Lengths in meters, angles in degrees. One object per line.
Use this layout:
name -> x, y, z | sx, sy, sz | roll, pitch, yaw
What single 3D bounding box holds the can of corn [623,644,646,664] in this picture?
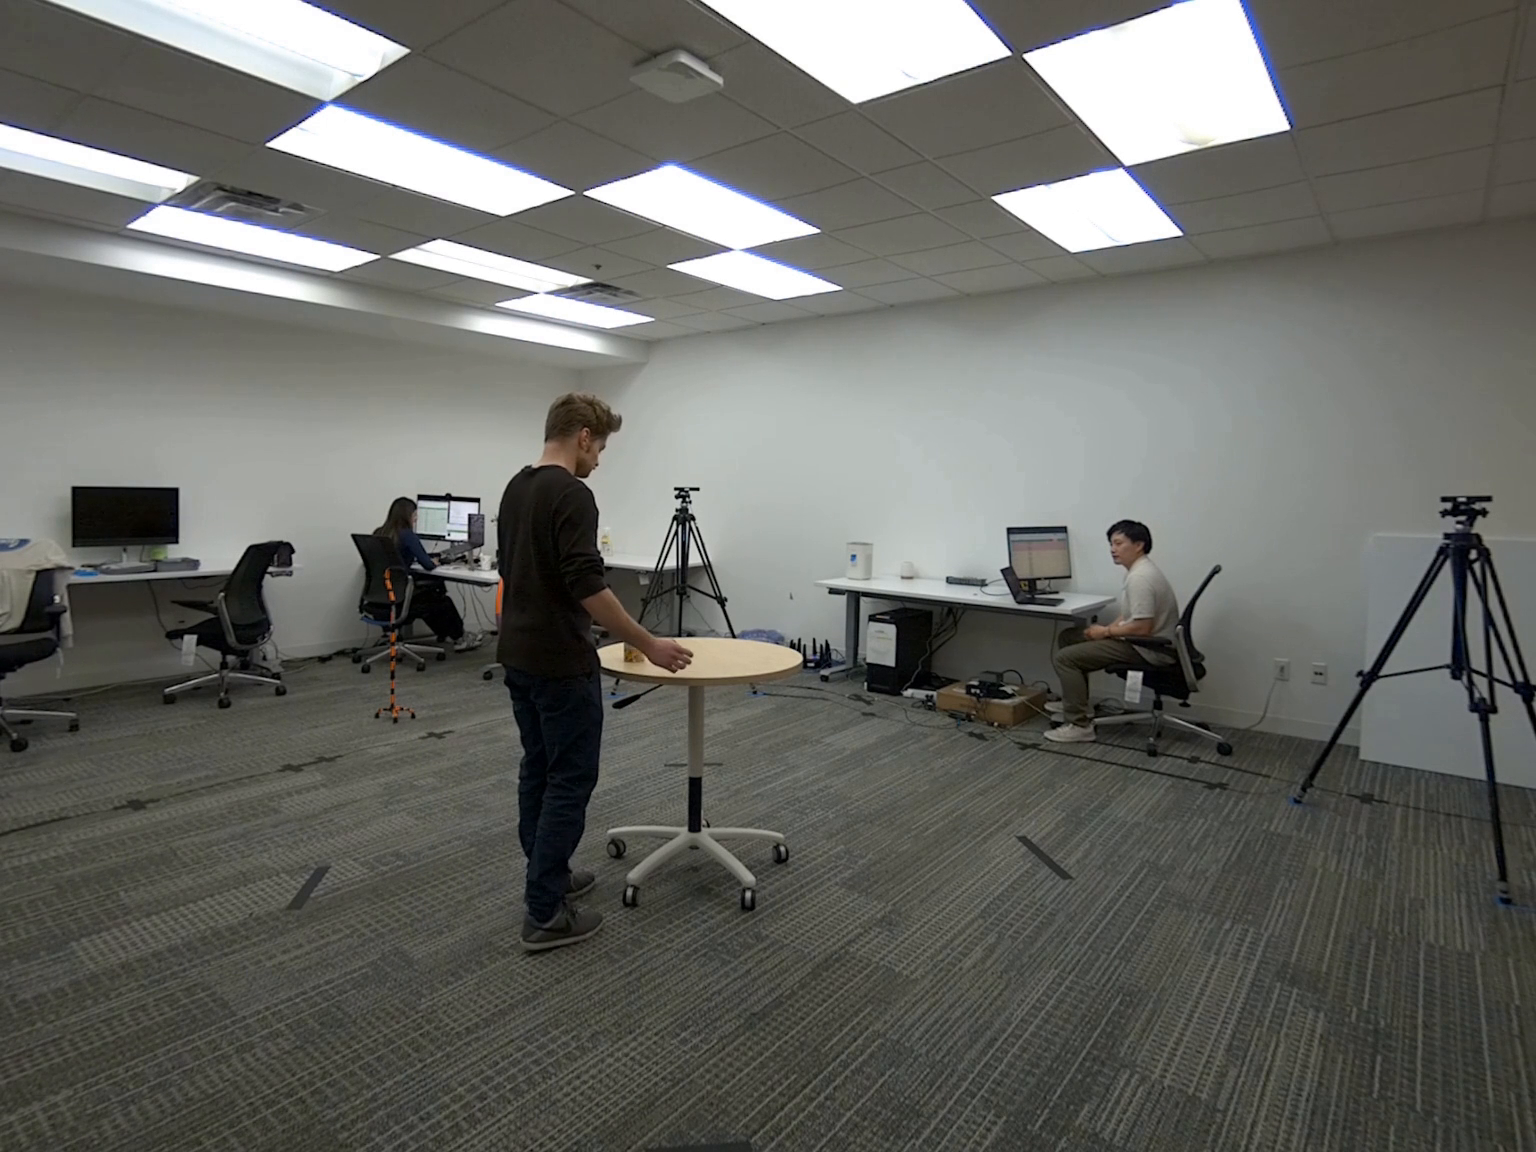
can of corn -> -0.477, 0.239, 2.960 | 0.074, 0.111, 0.074 | 0, 2, -2
